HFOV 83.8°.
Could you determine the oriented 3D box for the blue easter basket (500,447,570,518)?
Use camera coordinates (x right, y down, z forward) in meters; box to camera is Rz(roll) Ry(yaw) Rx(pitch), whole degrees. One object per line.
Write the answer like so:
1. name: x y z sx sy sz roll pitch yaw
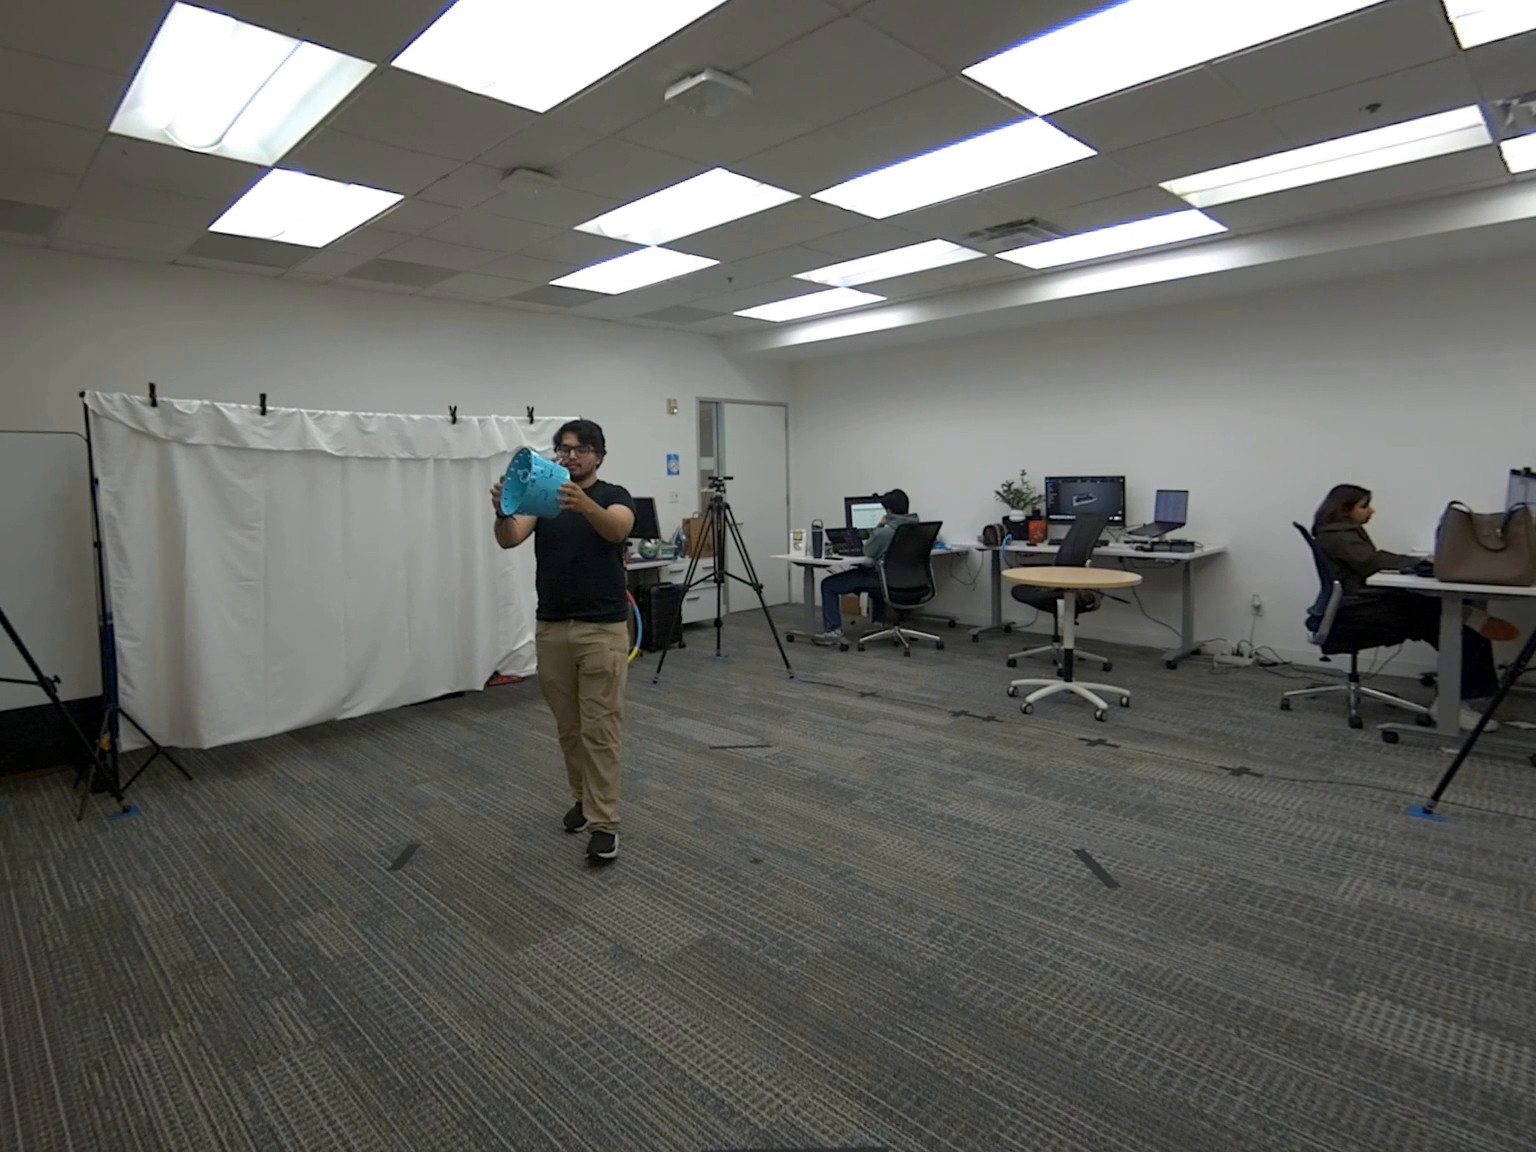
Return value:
1. blue easter basket: -0.787 -0.293 2.861 0.151 0.244 0.251 15 -6 -37
